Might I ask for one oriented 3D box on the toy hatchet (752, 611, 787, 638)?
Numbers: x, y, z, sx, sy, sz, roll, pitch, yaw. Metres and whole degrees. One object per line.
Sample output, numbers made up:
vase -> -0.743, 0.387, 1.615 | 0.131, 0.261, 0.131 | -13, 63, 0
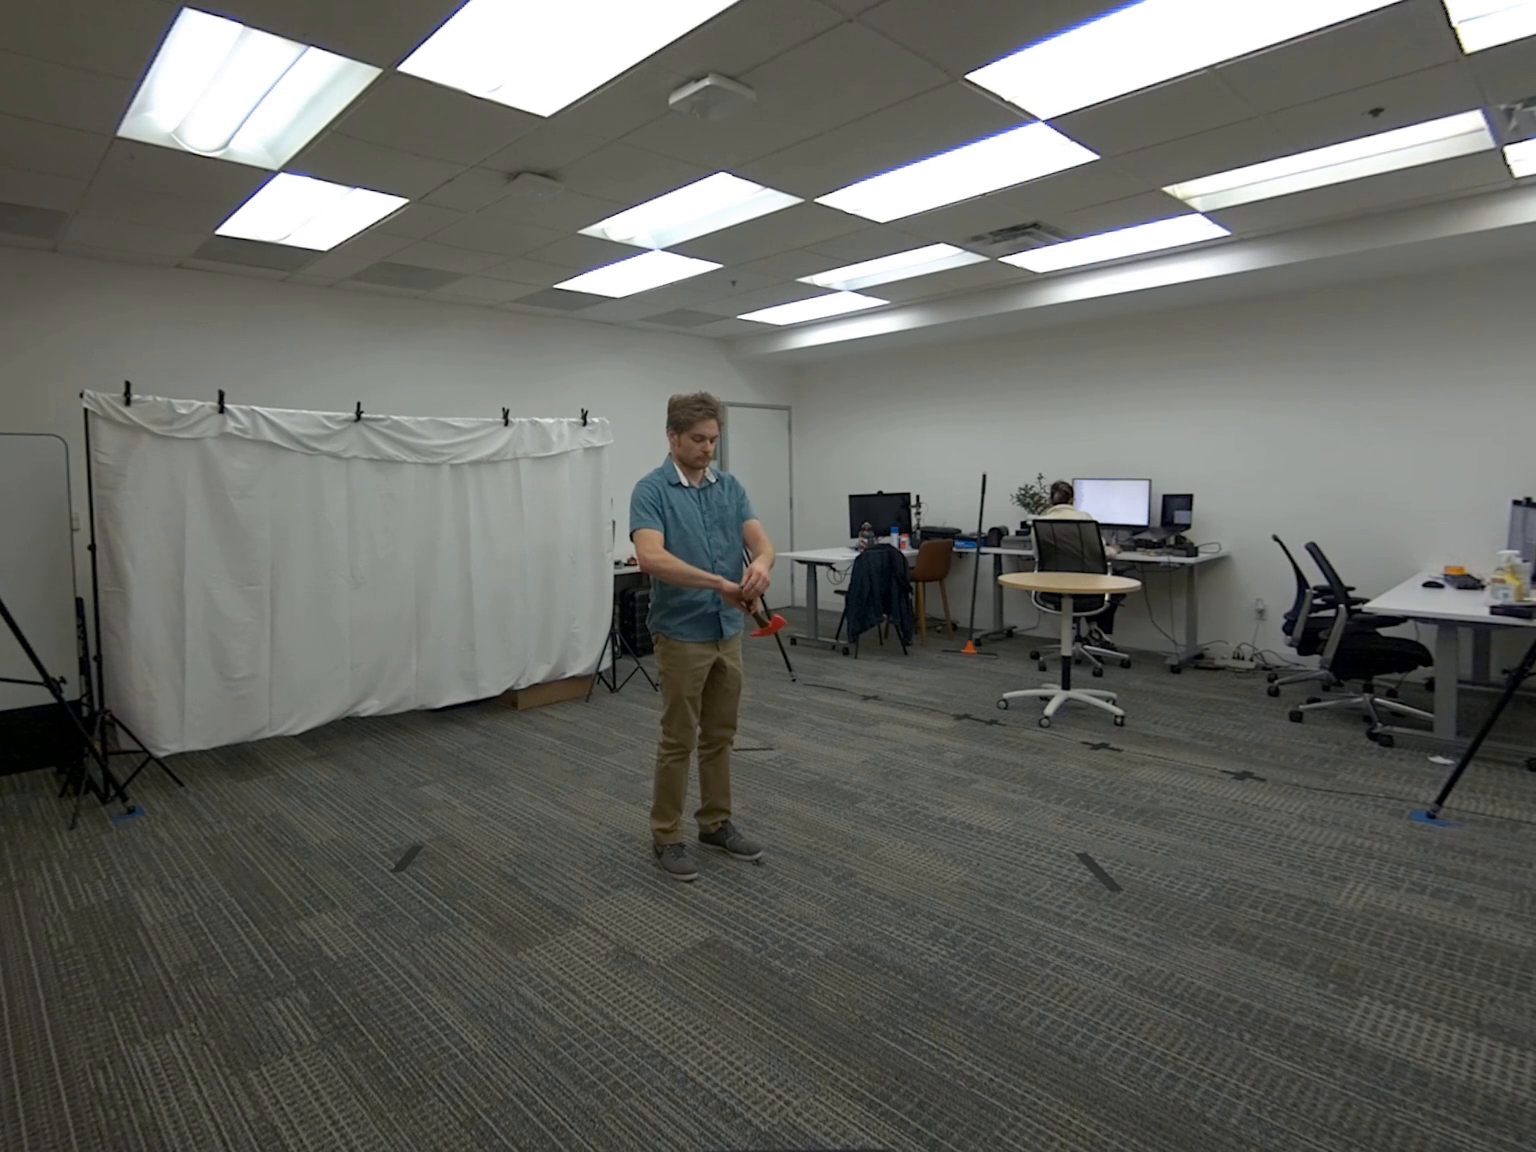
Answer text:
toy hatchet -> -0.019, 0.116, 2.833 | 0.132, 0.030, 0.261 | -7, -43, 9
